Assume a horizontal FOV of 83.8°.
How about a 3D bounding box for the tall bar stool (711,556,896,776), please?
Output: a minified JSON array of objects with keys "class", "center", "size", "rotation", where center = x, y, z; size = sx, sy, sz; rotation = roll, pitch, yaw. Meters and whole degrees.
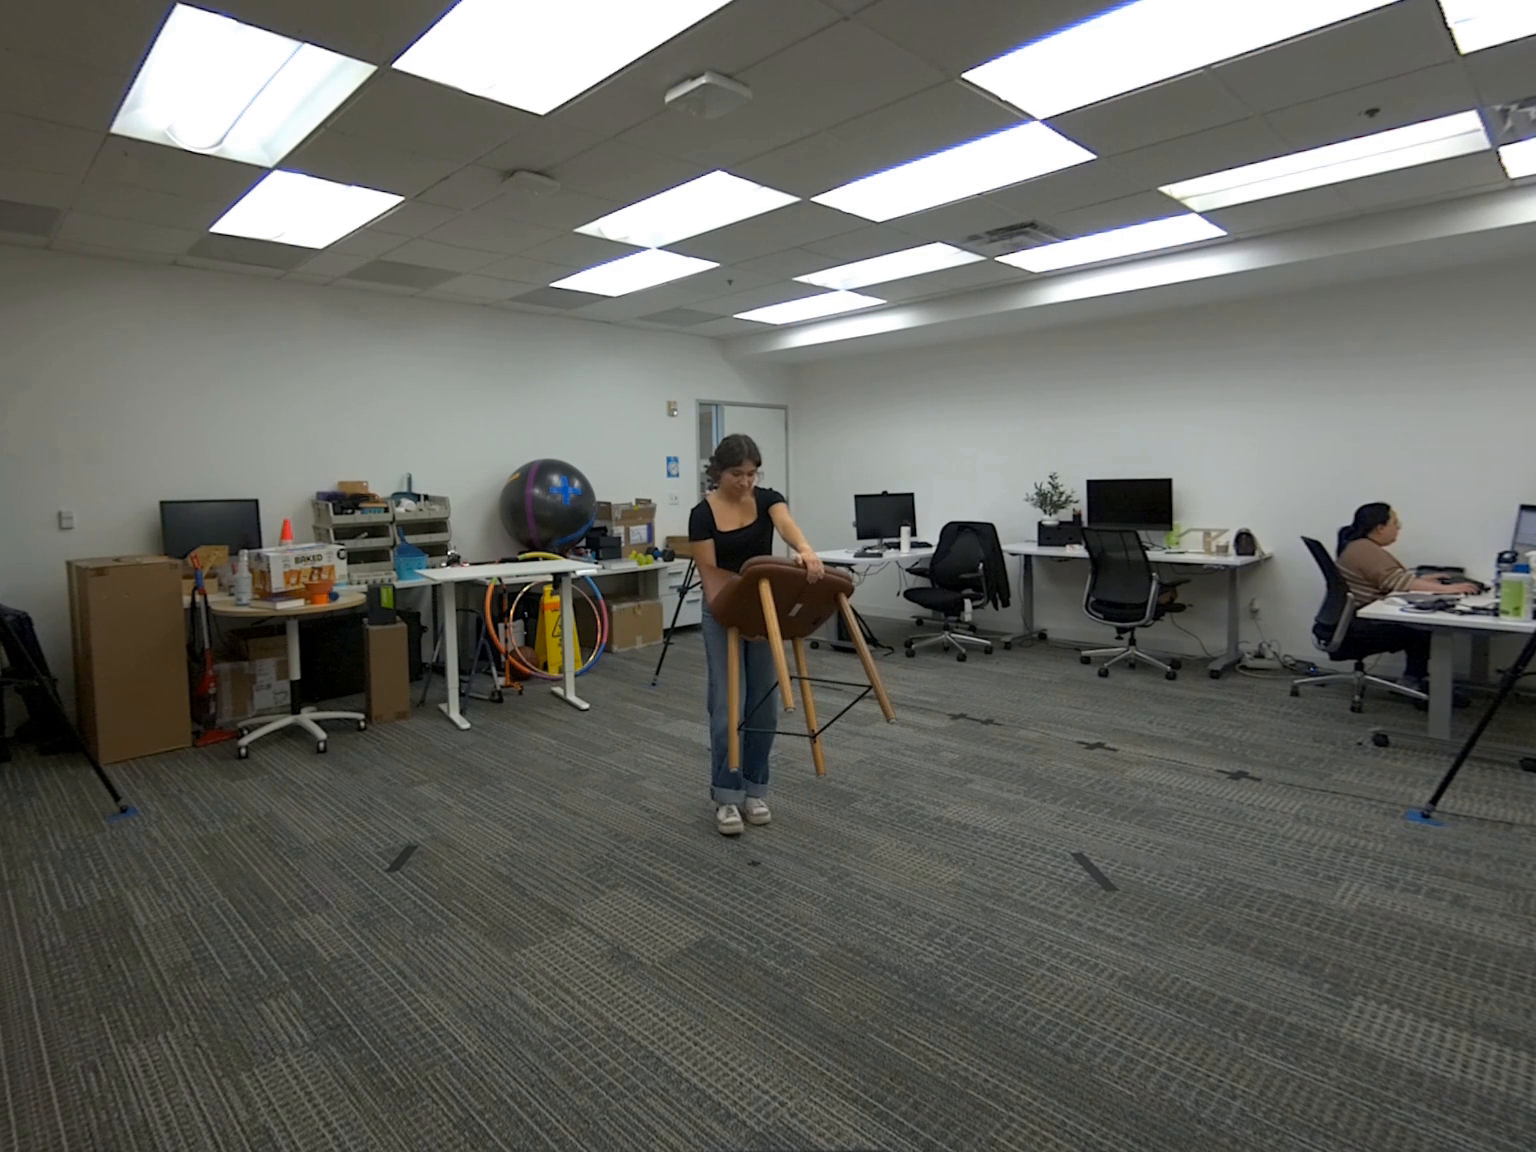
[{"class":"tall bar stool","center":[0.064,0.218,3.061],"size":[0.445,0.918,0.464],"rotation":[10,-44,-26]}]
